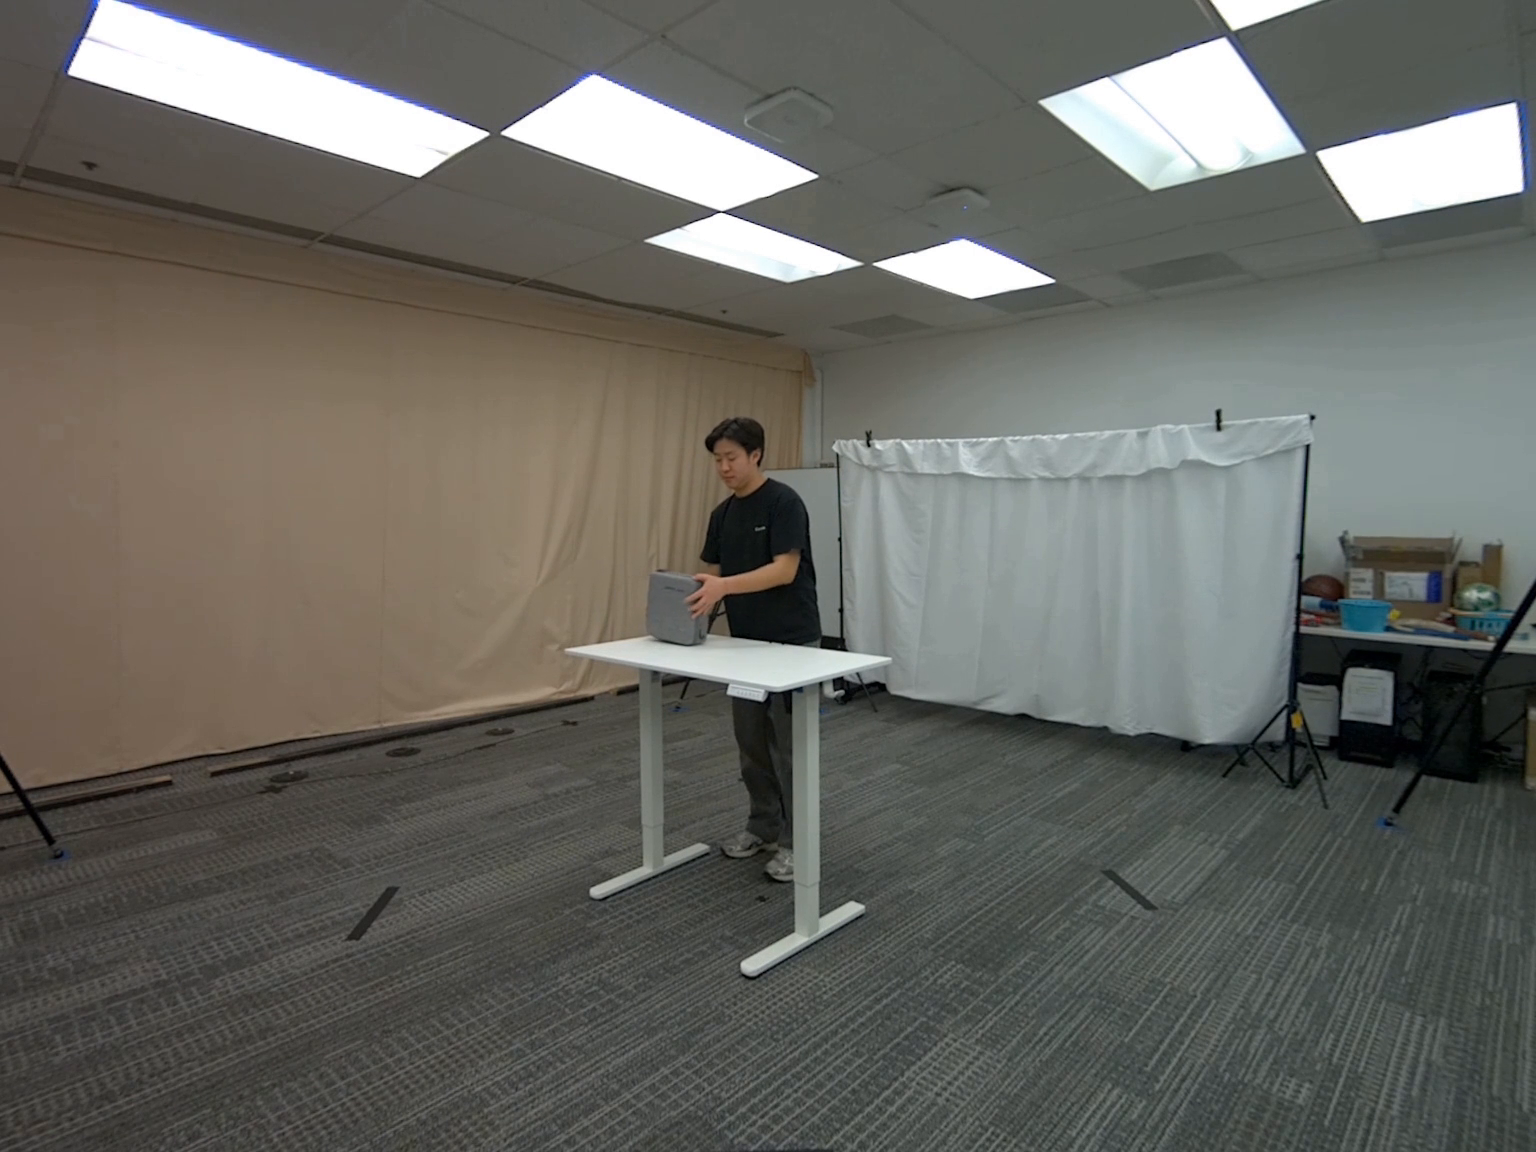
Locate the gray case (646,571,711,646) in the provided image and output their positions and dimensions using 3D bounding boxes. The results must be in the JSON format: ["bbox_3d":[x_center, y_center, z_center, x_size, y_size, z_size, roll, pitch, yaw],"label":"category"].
[{"bbox_3d":[-0.332,0.120,3.158,0.266,0.260,0.101,8,6,41],"label":"gray case"}]
